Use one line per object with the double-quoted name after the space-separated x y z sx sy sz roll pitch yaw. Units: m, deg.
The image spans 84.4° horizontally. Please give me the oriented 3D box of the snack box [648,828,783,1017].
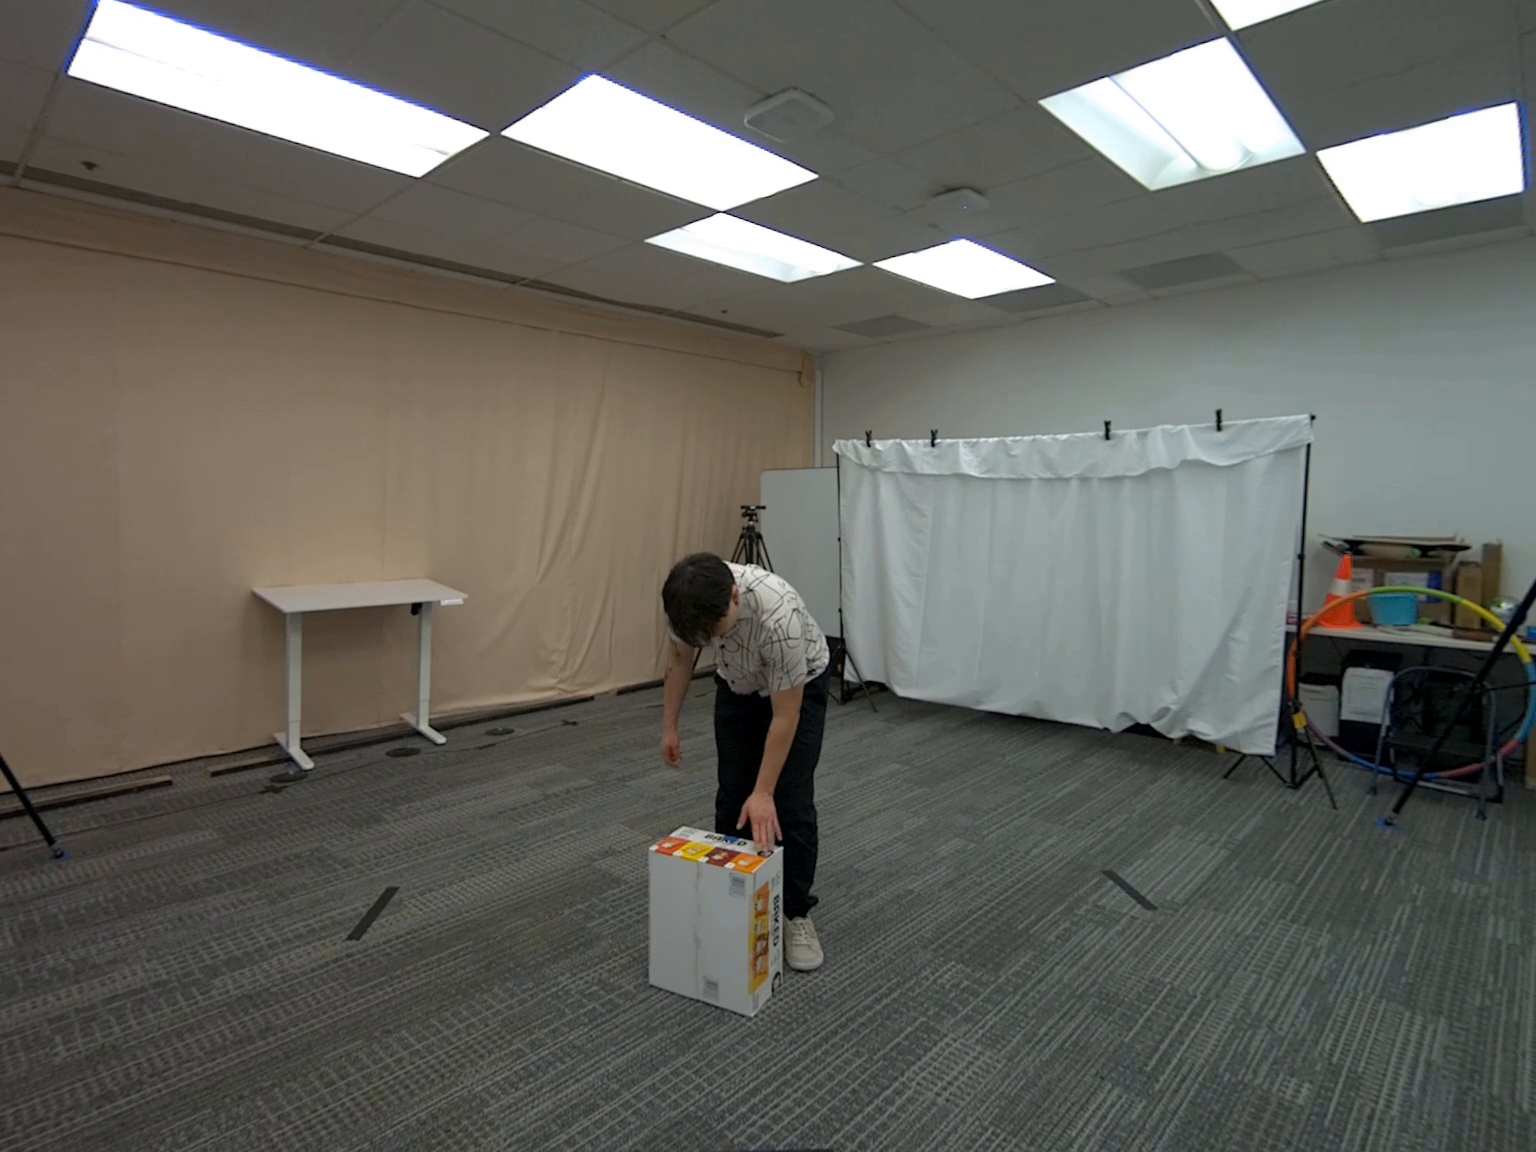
-0.151 0.988 2.436 0.350 0.404 0.200 2 3 28 "snack box"
